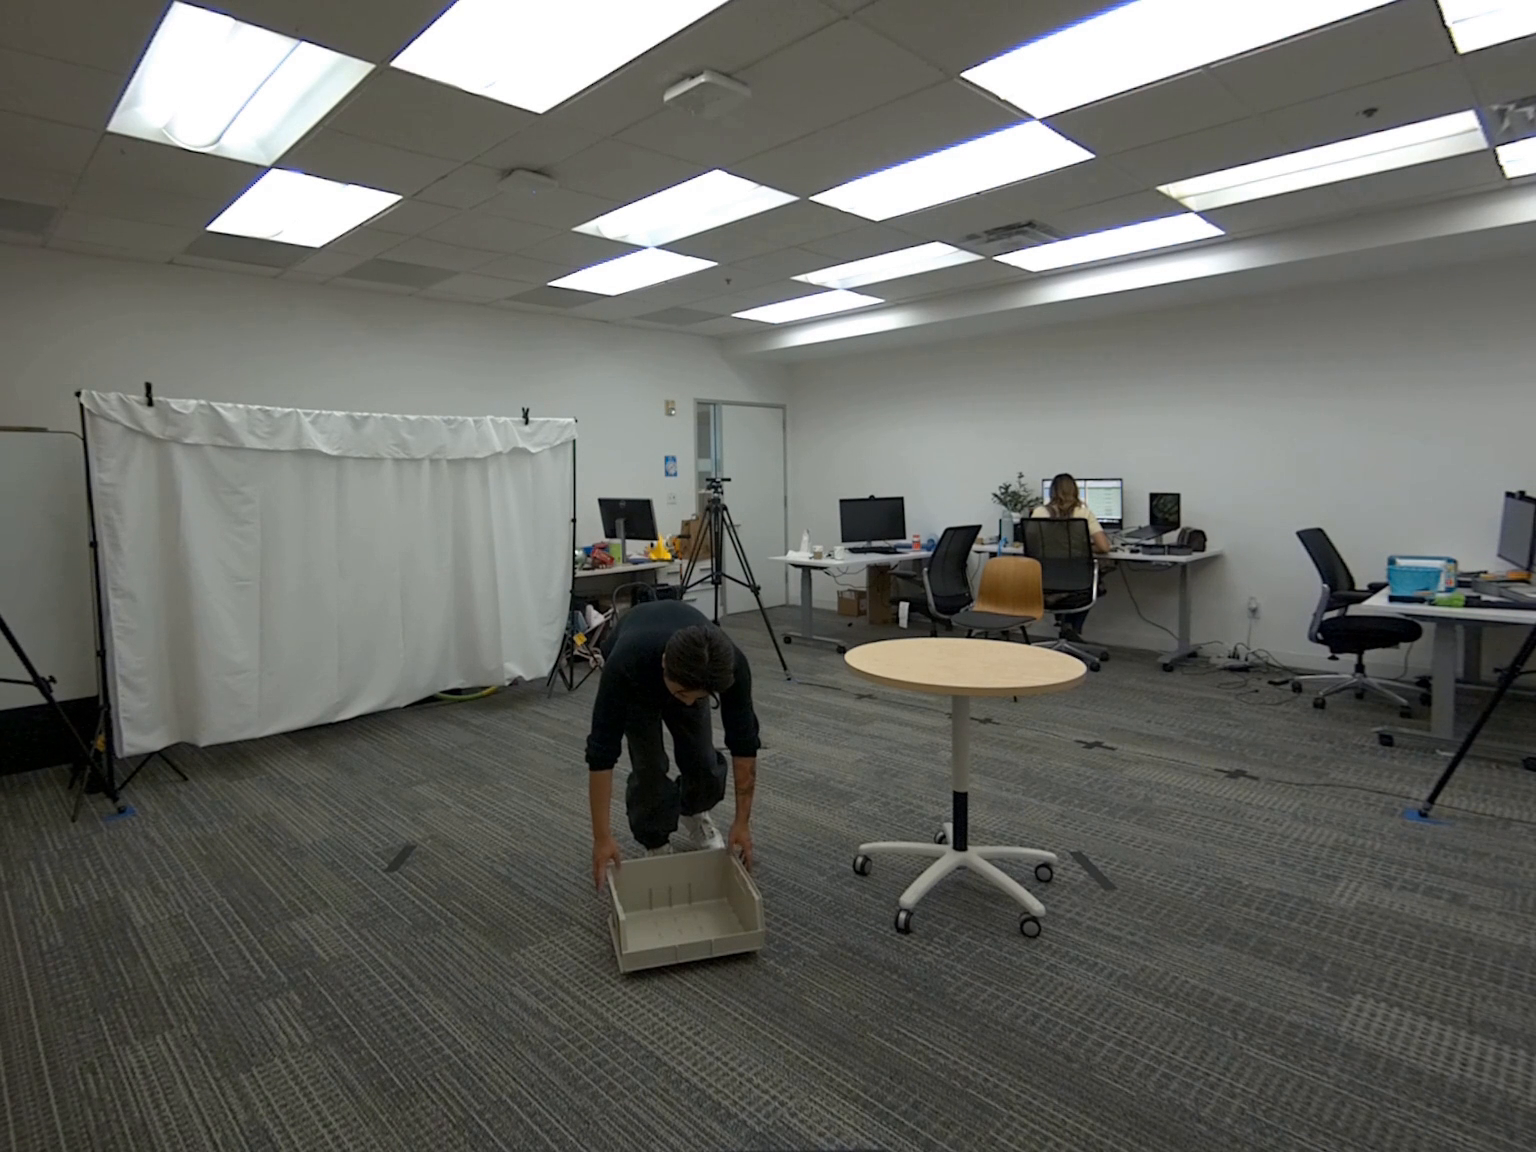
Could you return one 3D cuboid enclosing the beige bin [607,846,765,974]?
[{"bbox_3d":[-0.264,1.018,2.600,0.417,0.188,0.384,-4,7,-15],"label":"beige bin"}]
